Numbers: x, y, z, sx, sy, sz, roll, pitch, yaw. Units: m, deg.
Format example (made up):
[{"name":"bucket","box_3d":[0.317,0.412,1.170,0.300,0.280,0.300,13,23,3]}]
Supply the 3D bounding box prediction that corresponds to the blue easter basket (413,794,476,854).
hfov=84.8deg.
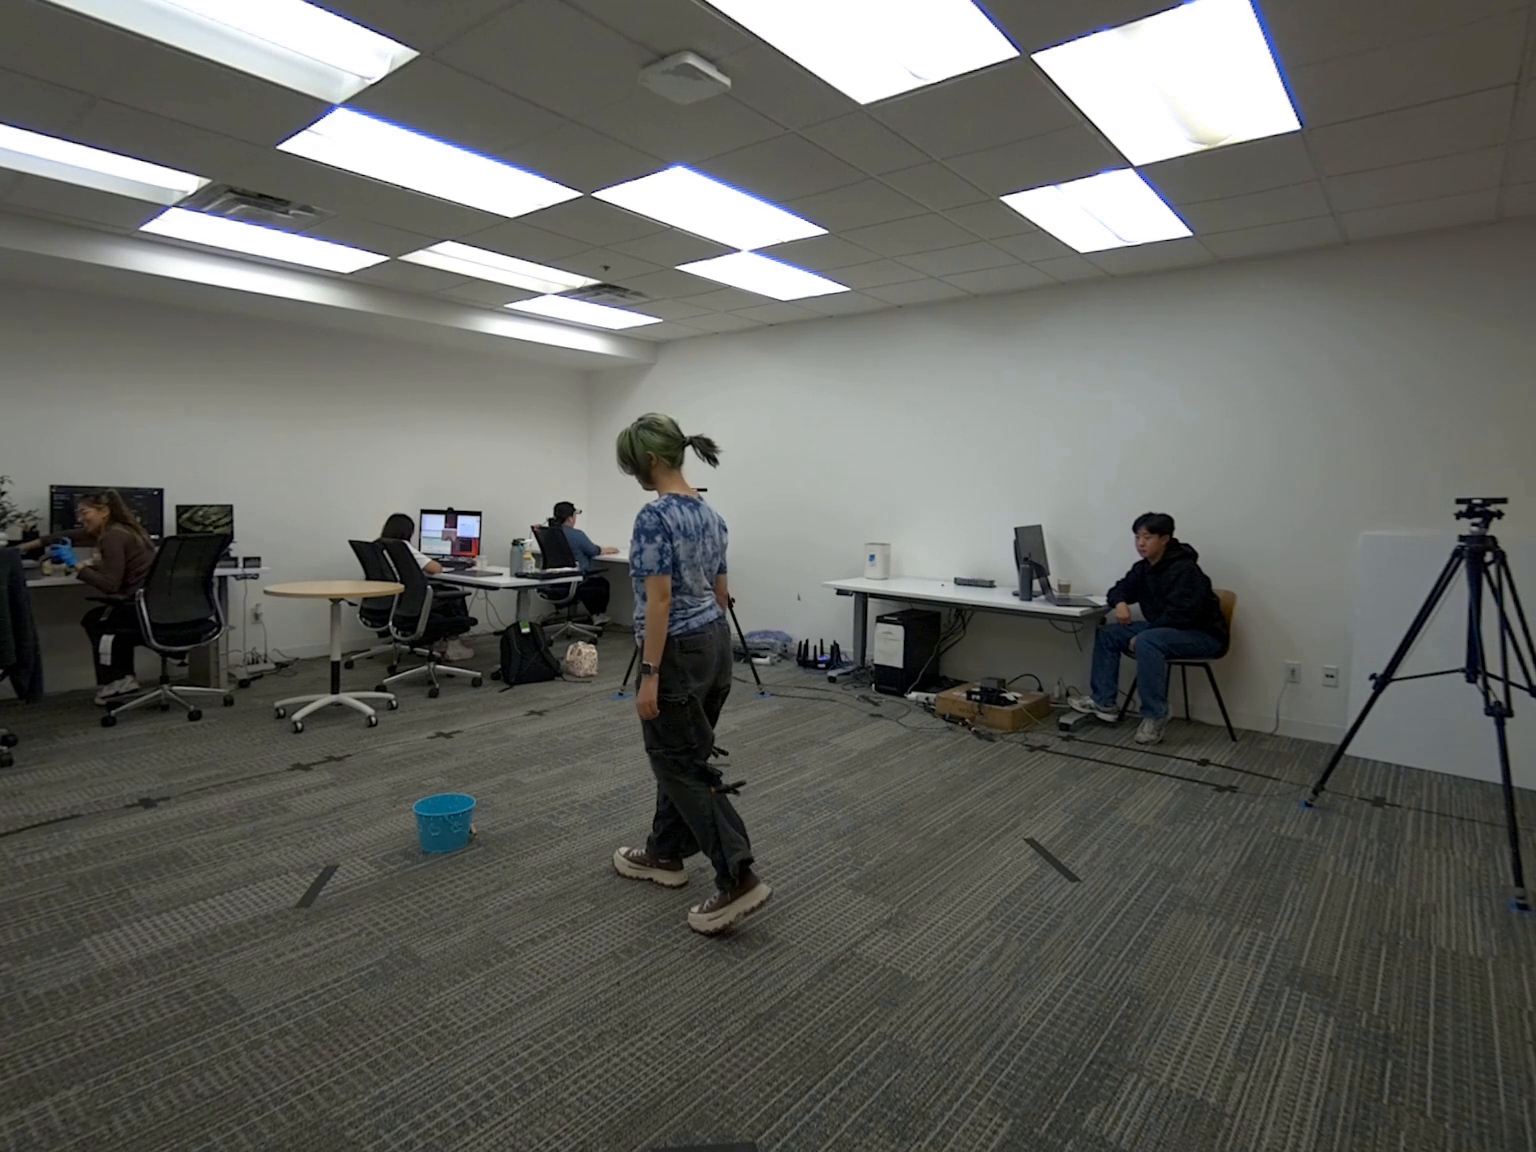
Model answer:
[{"name":"blue easter basket","box_3d":[-1.269,0.959,3.301,0.243,0.155,0.245,1,5,-2]}]
